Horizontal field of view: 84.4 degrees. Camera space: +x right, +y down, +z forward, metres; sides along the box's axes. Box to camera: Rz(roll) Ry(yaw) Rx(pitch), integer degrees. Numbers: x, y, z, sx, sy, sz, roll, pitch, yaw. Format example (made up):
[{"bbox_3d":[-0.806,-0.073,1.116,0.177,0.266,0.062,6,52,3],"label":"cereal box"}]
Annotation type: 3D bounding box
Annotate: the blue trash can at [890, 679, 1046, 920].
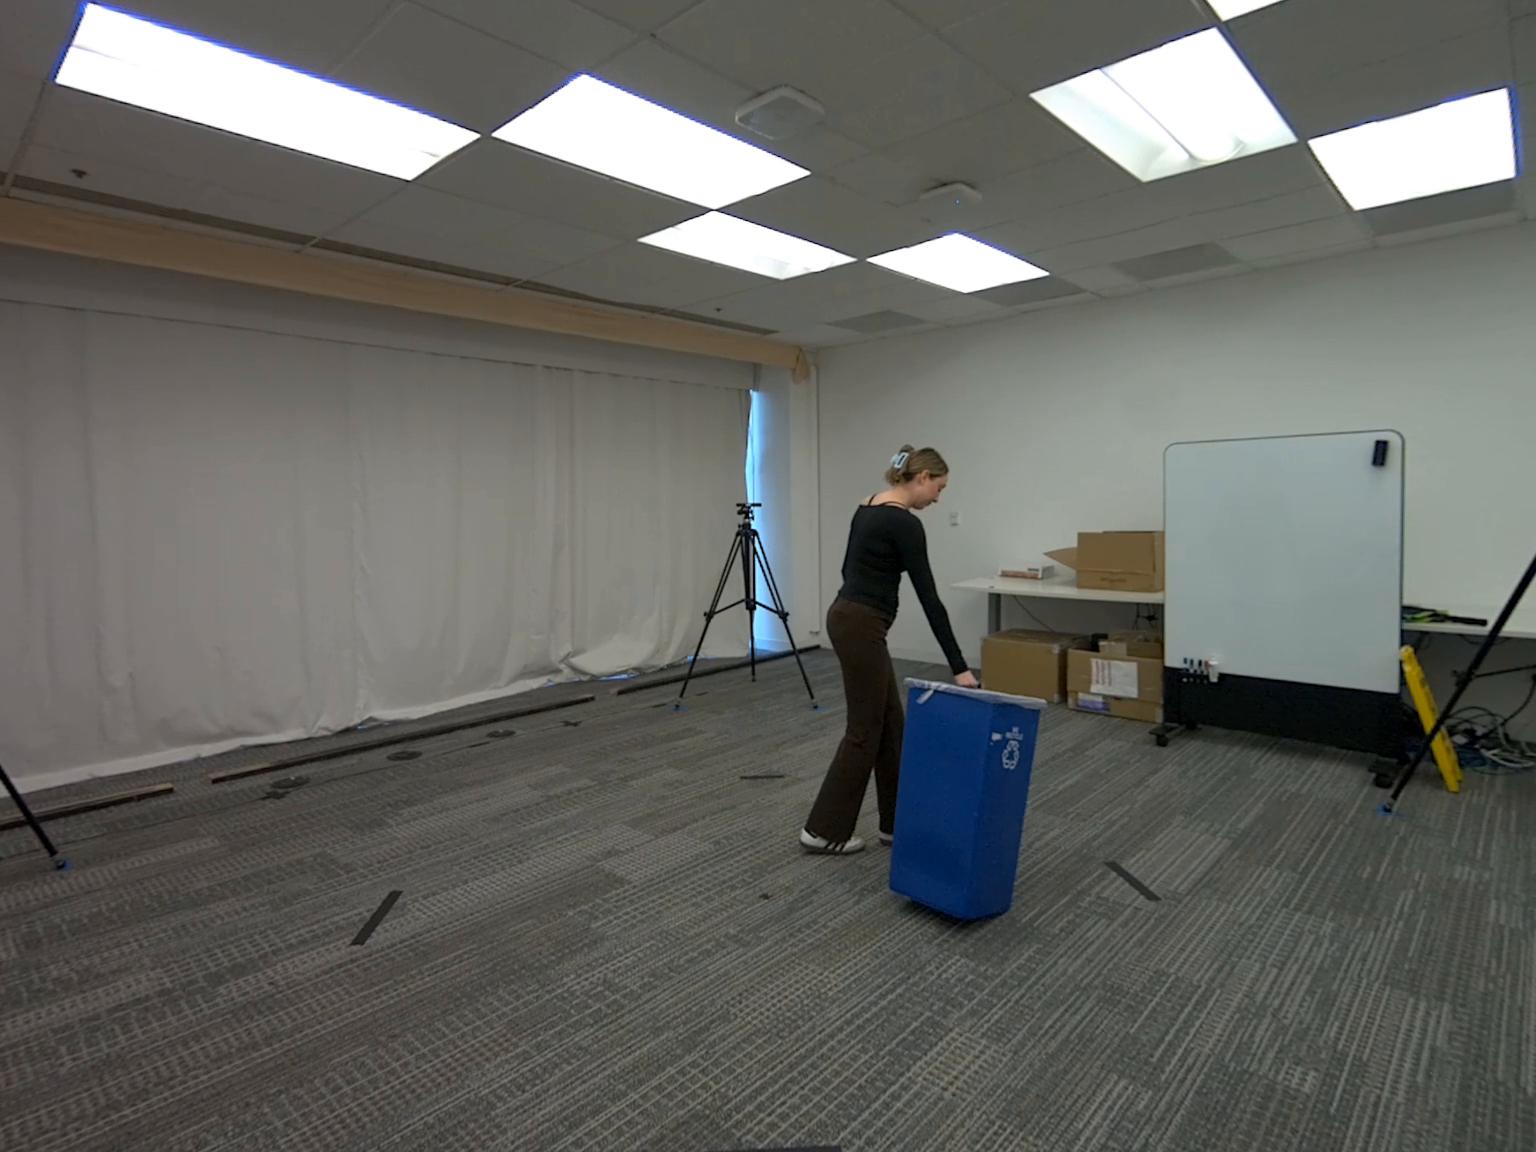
[{"bbox_3d":[0.674,0.746,2.905,0.361,0.715,0.391,13,-6,-43],"label":"blue trash can"}]
